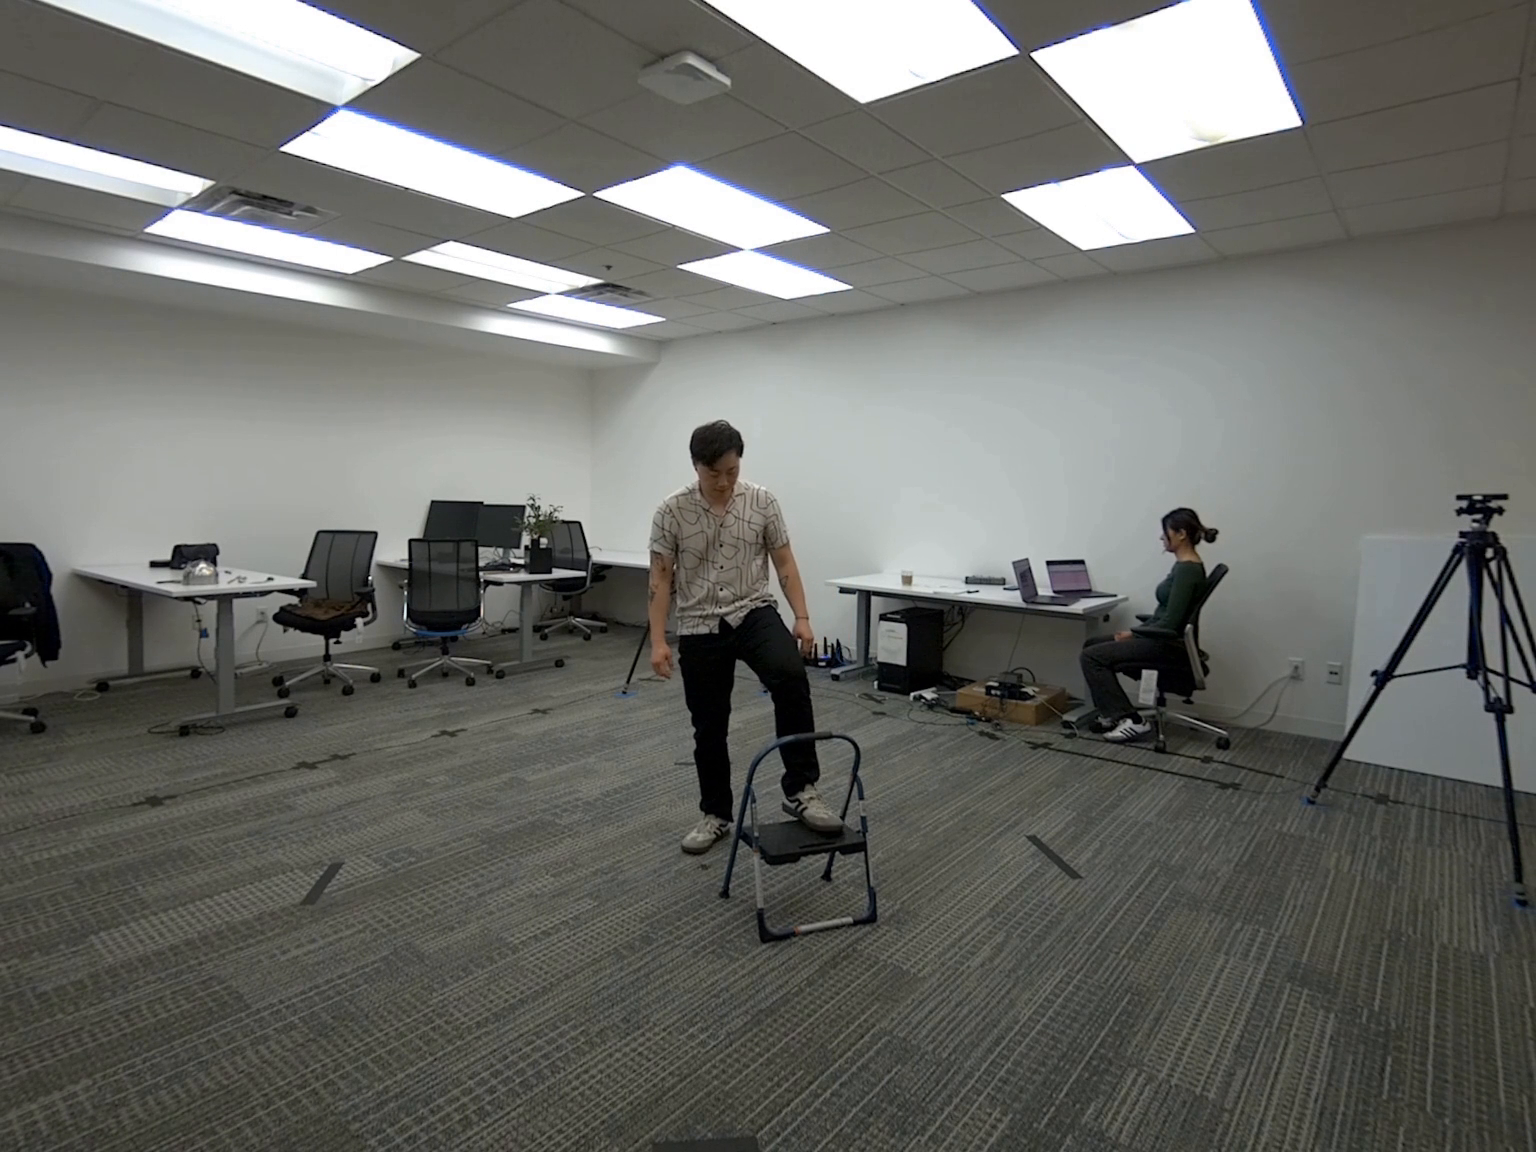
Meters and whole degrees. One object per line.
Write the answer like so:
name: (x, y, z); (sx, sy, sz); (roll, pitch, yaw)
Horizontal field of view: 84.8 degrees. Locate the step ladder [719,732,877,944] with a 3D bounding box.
step ladder: (0.096, 0.795, 2.811); (0.421, 0.604, 0.358); (0, 4, -24)
